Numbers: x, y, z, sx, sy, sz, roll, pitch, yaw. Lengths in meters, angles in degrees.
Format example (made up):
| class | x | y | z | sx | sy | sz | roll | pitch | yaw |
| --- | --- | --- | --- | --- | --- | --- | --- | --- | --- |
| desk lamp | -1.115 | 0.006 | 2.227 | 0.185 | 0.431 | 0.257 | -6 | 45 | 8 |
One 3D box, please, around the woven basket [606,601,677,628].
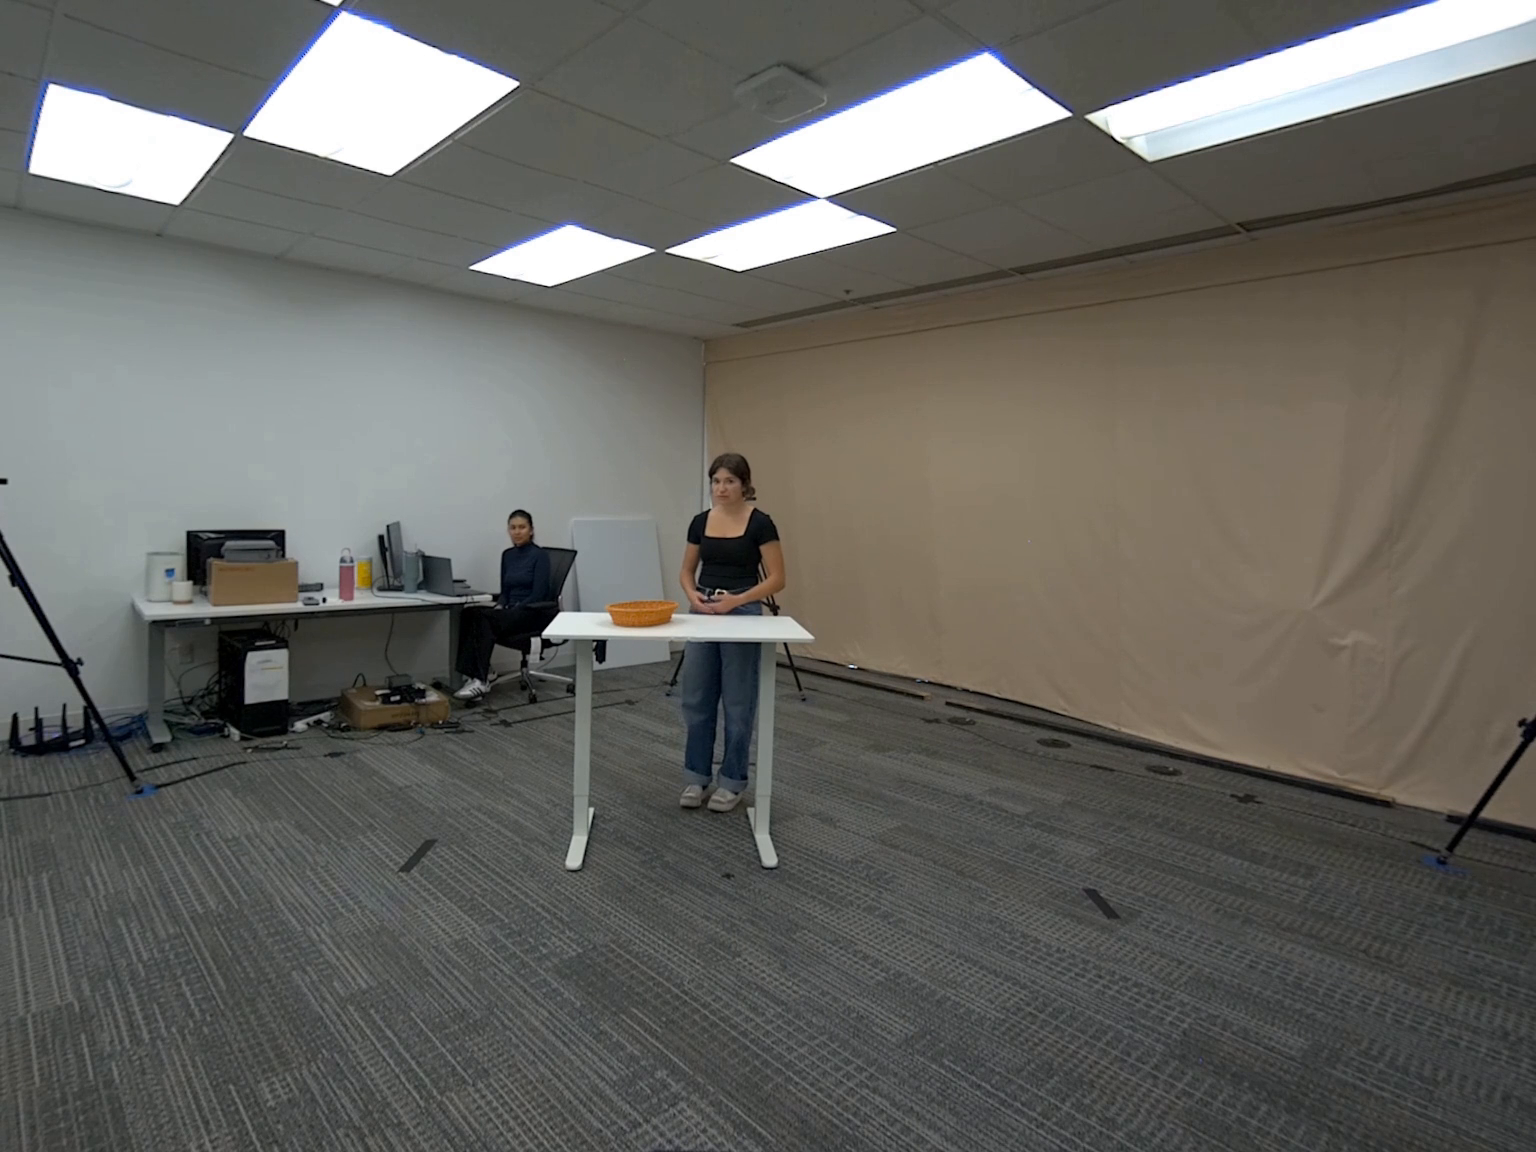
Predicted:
| class | x | y | z | sx | sy | sz | roll | pitch | yaw |
| --- | --- | --- | --- | --- | --- | --- | --- | --- | --- |
| woven basket | -0.535 | 0.160 | 3.405 | 0.256 | 0.073 | 0.346 | 2 | 4 | 16 |
